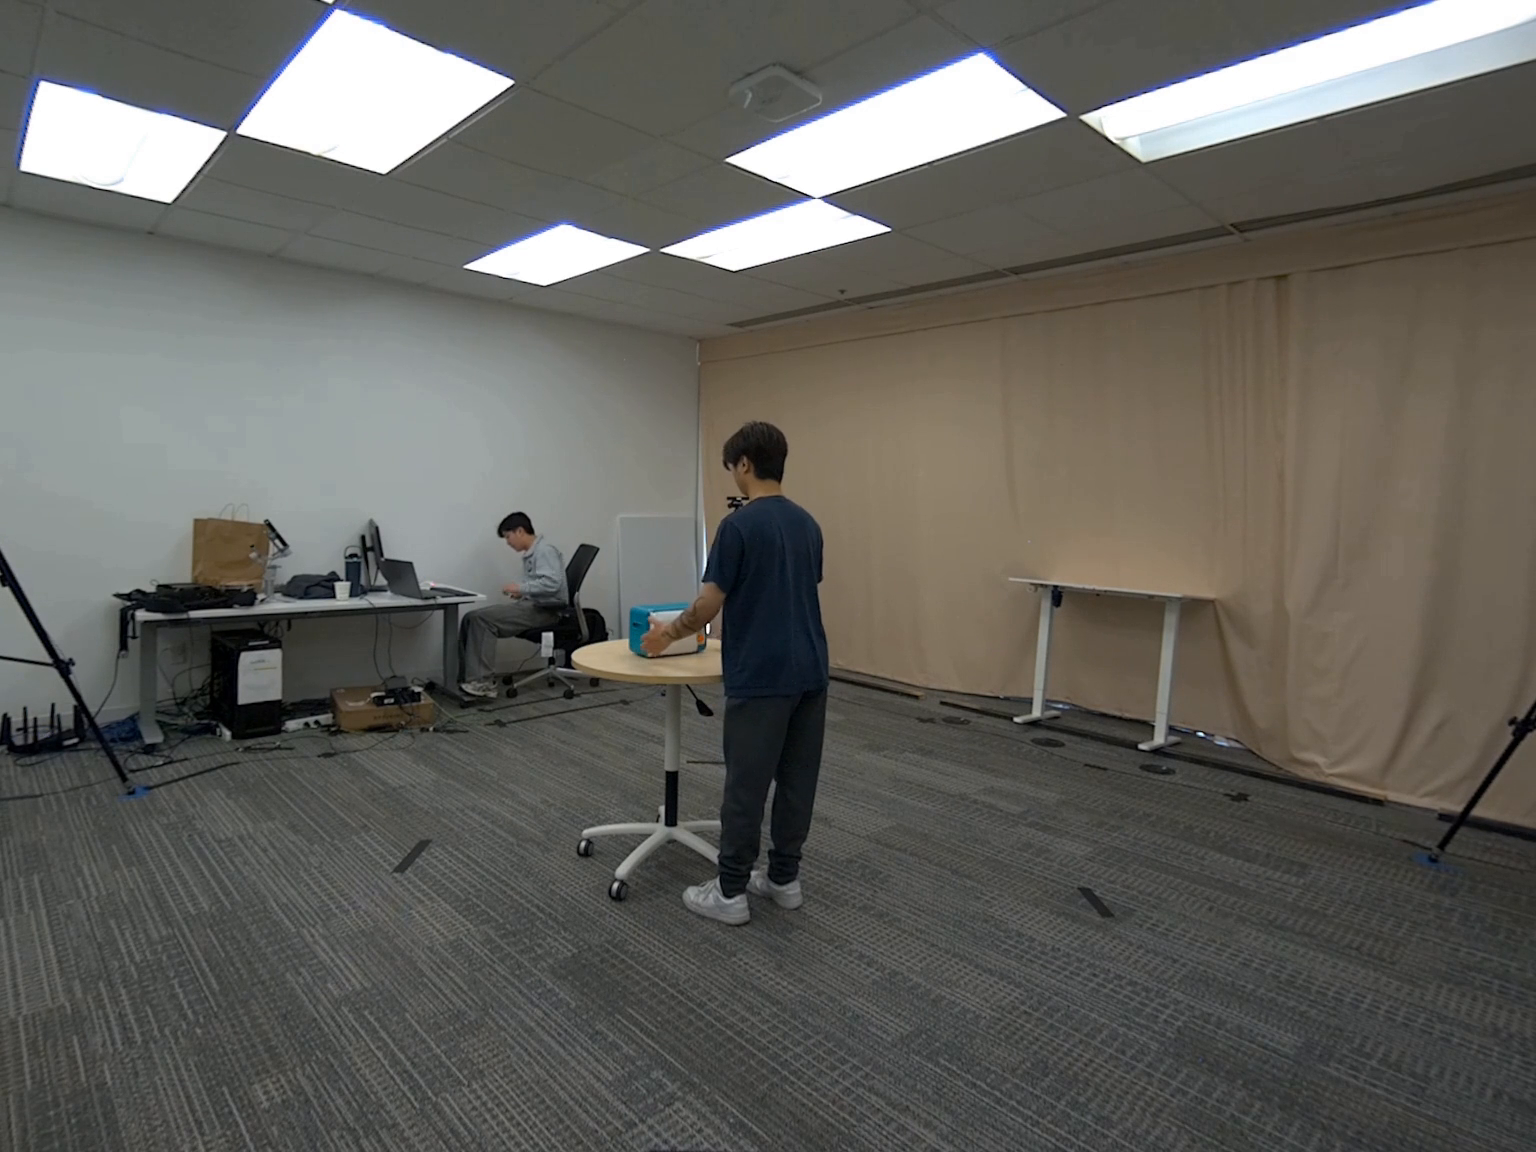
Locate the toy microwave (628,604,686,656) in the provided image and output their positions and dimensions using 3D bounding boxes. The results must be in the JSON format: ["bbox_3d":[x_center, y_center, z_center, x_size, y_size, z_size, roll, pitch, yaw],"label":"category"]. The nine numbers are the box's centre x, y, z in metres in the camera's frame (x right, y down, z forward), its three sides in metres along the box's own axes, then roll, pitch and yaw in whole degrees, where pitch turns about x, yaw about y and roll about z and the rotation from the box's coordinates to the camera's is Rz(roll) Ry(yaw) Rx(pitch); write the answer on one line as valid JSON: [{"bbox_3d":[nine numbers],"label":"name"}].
[{"bbox_3d":[-0.384,0.205,3.196,0.280,0.183,0.156,-2,6,-38],"label":"toy microwave"}]
